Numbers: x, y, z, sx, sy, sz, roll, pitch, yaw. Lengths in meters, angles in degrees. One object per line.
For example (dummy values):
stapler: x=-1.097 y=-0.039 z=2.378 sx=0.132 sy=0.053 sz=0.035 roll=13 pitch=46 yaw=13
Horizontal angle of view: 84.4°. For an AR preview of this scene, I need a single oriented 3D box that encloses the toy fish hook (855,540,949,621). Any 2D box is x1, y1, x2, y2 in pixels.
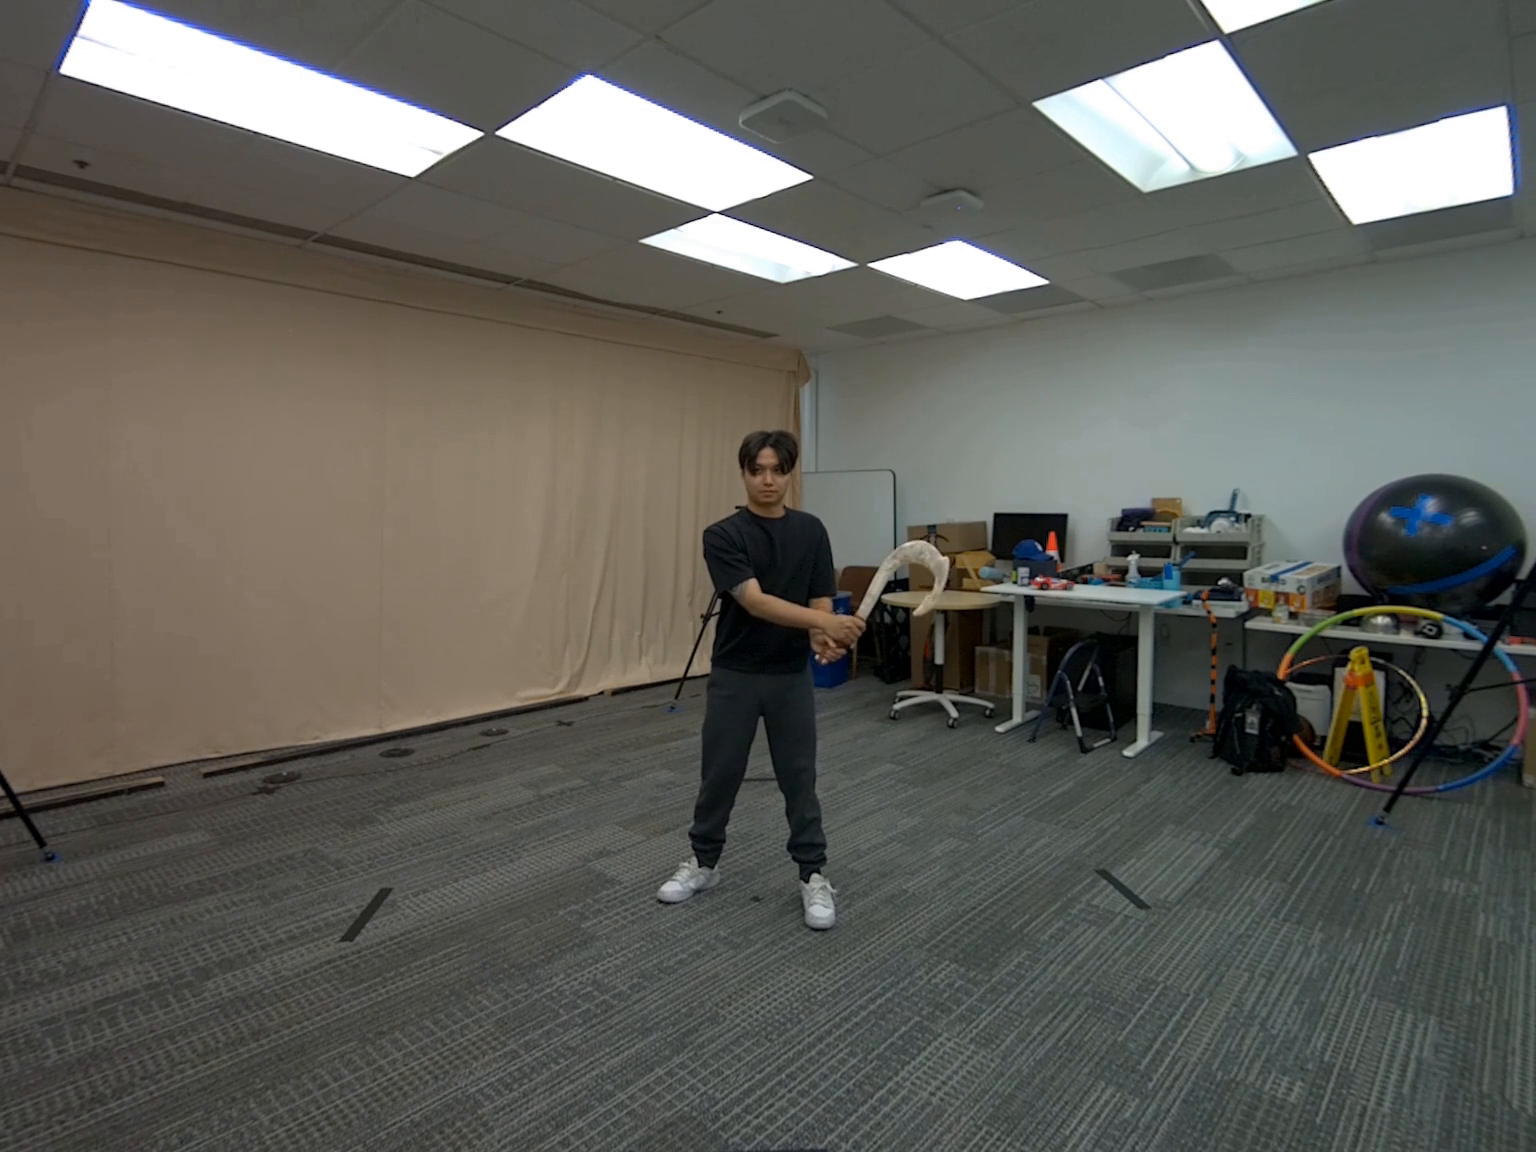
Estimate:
toy fish hook: x=0.351 y=0.141 z=2.582 sx=0.046 sy=0.507 sz=0.232 roll=29 pitch=14 yaw=-49
